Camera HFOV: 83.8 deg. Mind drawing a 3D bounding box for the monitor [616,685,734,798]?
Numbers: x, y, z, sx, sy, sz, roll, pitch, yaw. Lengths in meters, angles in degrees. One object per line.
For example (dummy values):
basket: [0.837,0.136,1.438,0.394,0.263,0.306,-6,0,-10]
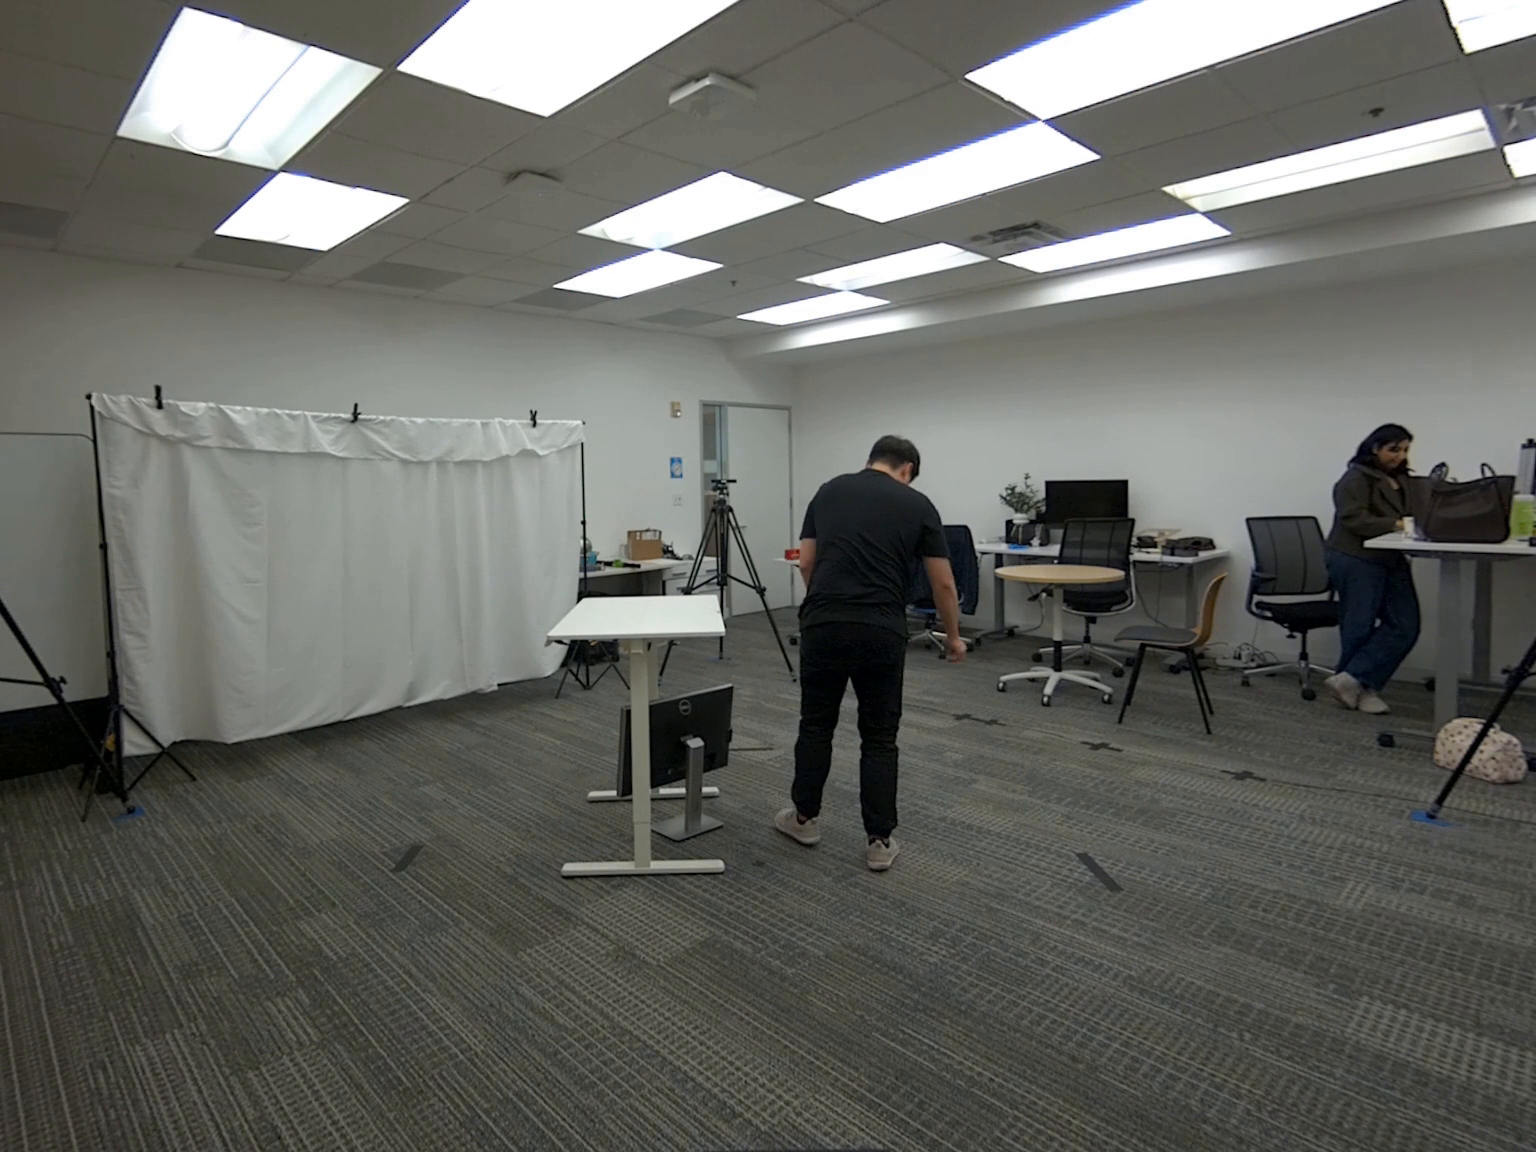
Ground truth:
monitor: [-0.333,0.751,3.433,0.524,0.523,0.192,-3,0,-44]
